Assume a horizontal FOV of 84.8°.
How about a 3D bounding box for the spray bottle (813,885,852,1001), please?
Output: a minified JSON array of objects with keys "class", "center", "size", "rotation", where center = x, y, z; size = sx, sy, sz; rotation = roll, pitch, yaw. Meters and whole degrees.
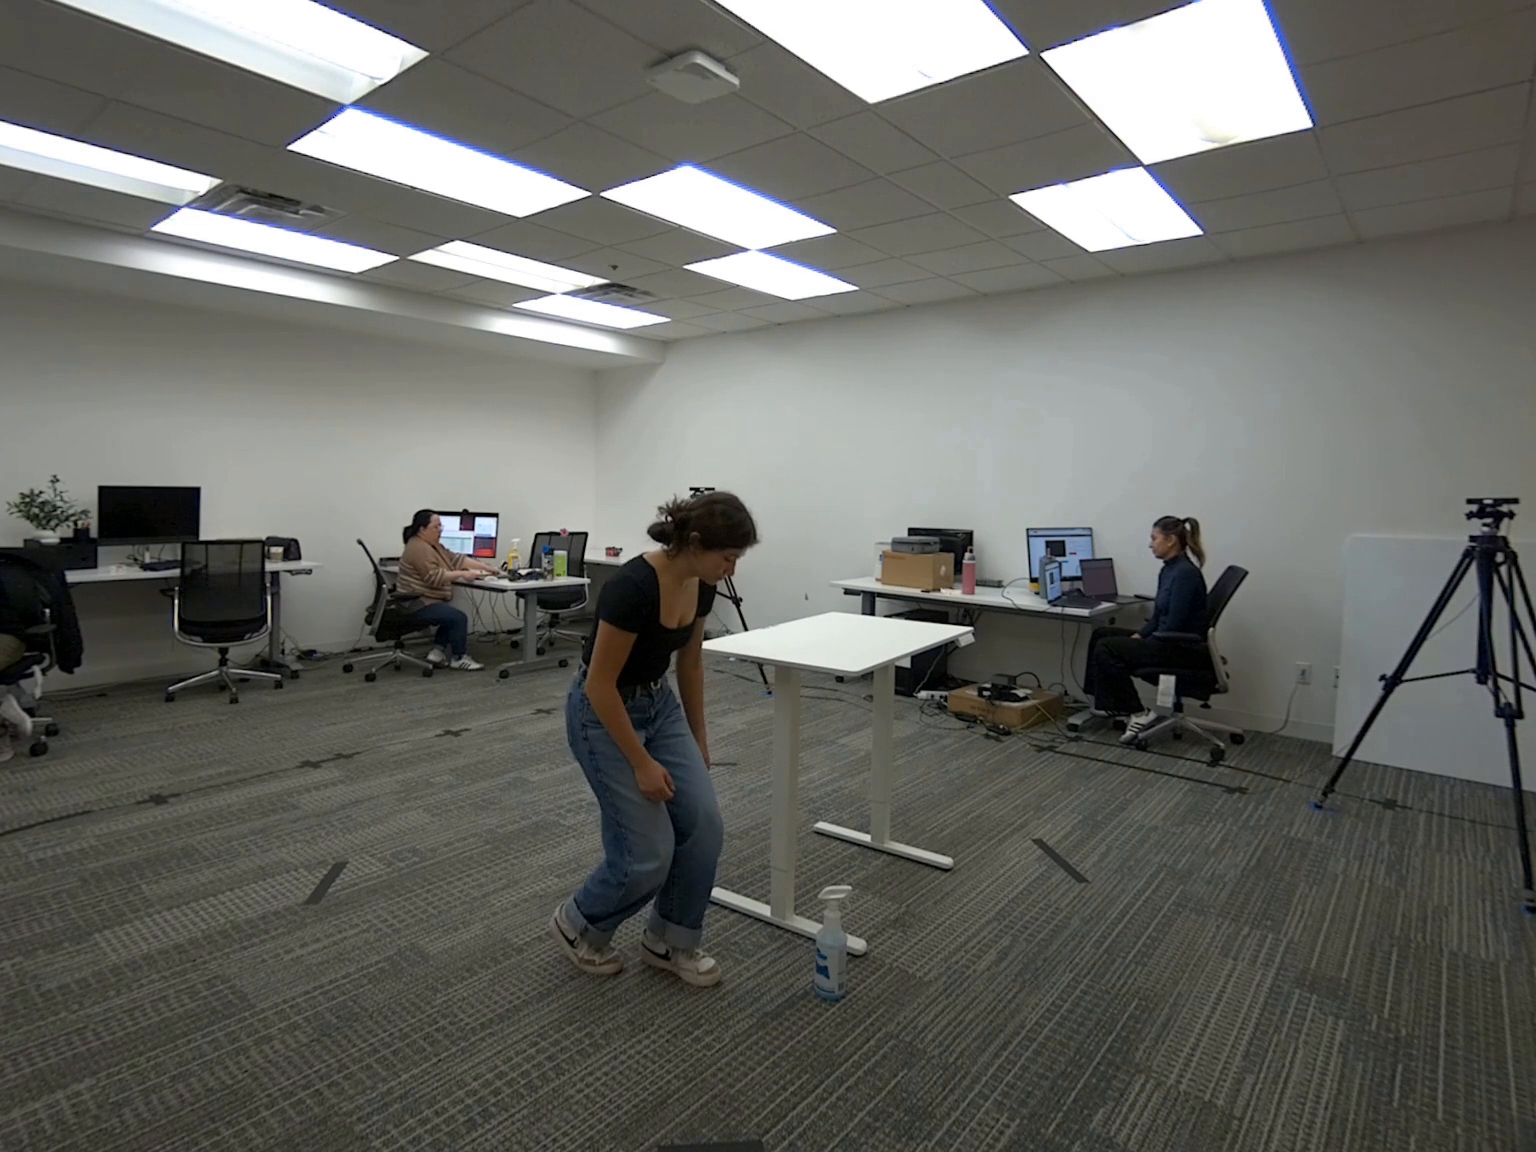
[{"class":"spray bottle","center":[0.171,1.009,2.347],"size":[0.092,0.297,0.085],"rotation":[2,0,18]}]
